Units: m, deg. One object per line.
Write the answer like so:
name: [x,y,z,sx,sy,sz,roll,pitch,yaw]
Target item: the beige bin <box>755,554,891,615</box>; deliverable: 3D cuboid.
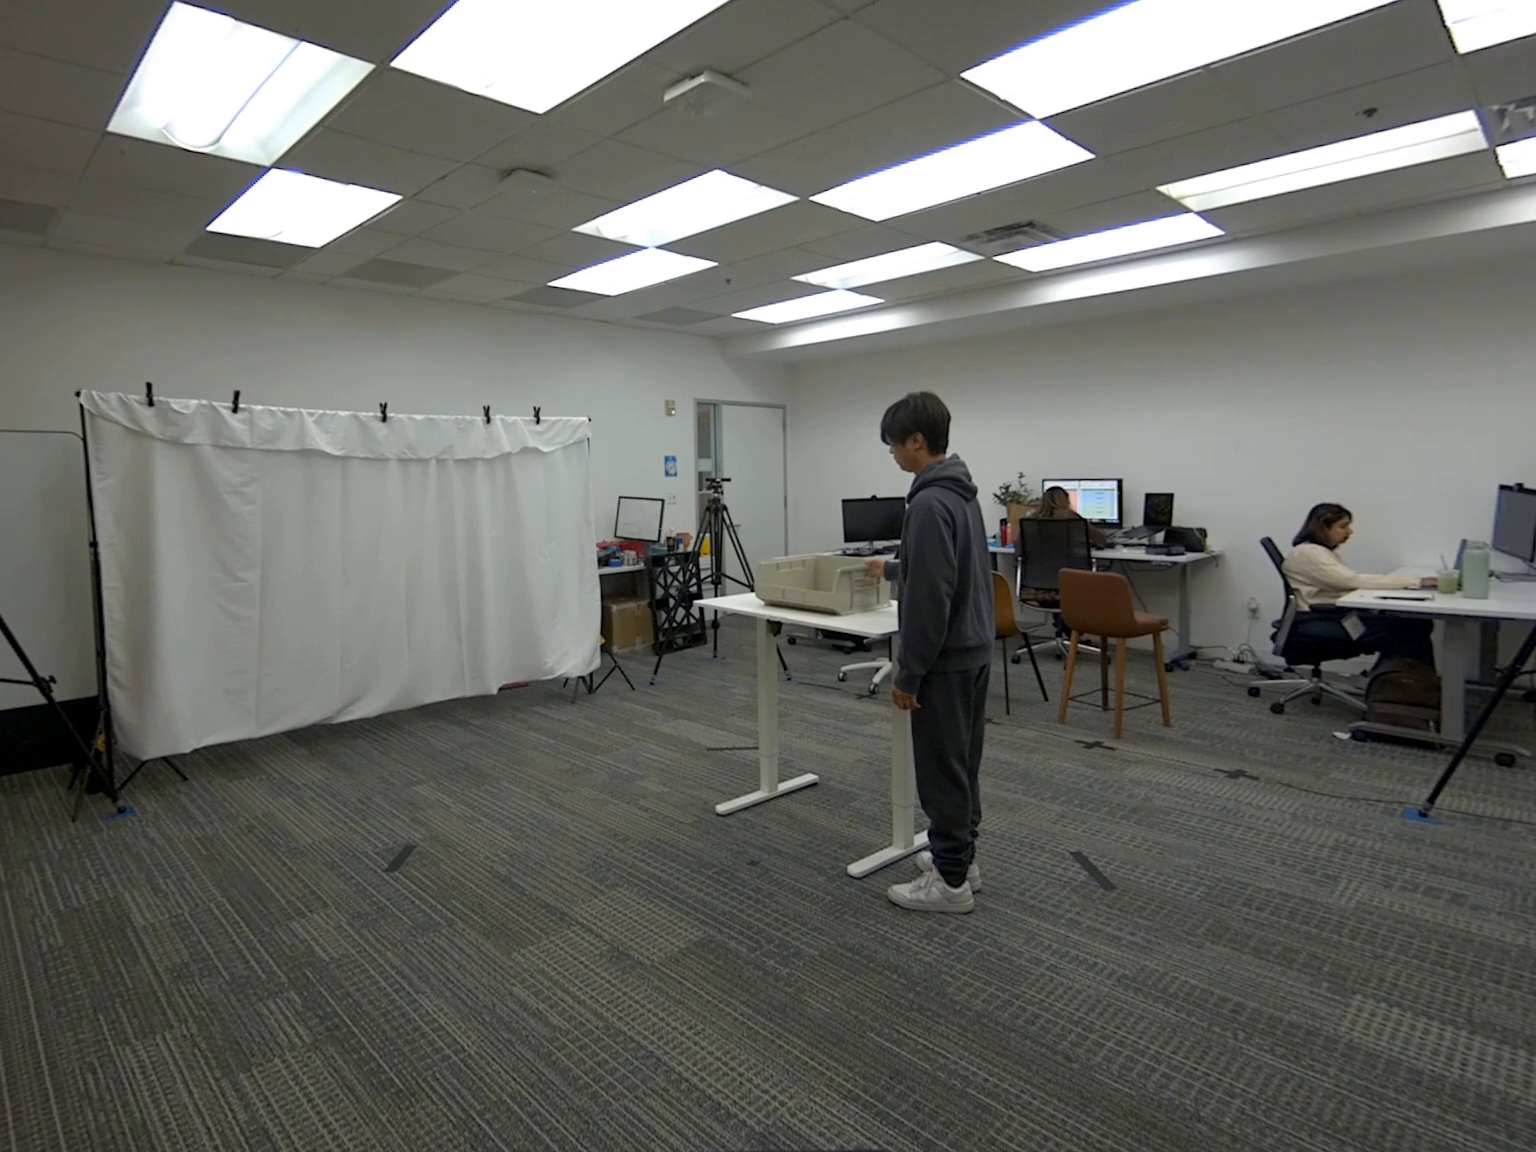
beige bin: [0.226,0.031,3.400,0.367,0.188,0.435,-6,8,-43]
